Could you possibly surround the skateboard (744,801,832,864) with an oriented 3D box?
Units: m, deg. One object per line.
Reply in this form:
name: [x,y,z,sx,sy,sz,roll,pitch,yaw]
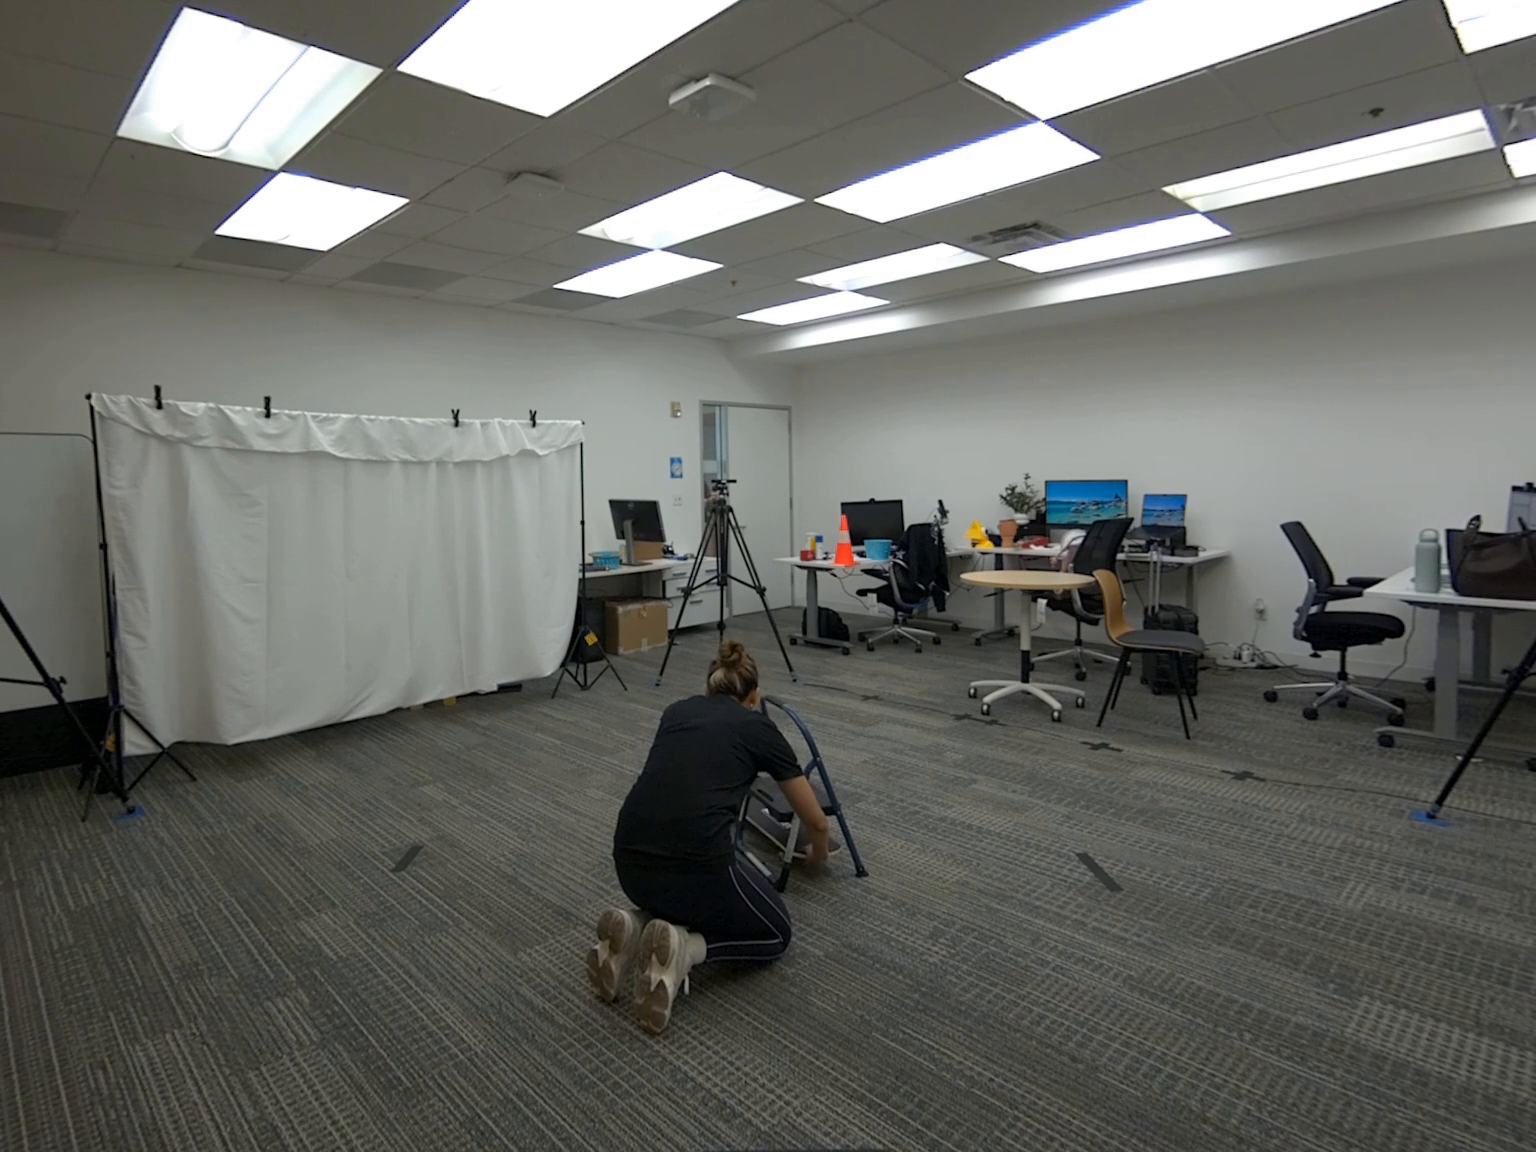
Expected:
skateboard: [0.040,0.969,3.305,0.189,0.110,0.805,-4,7,-26]
